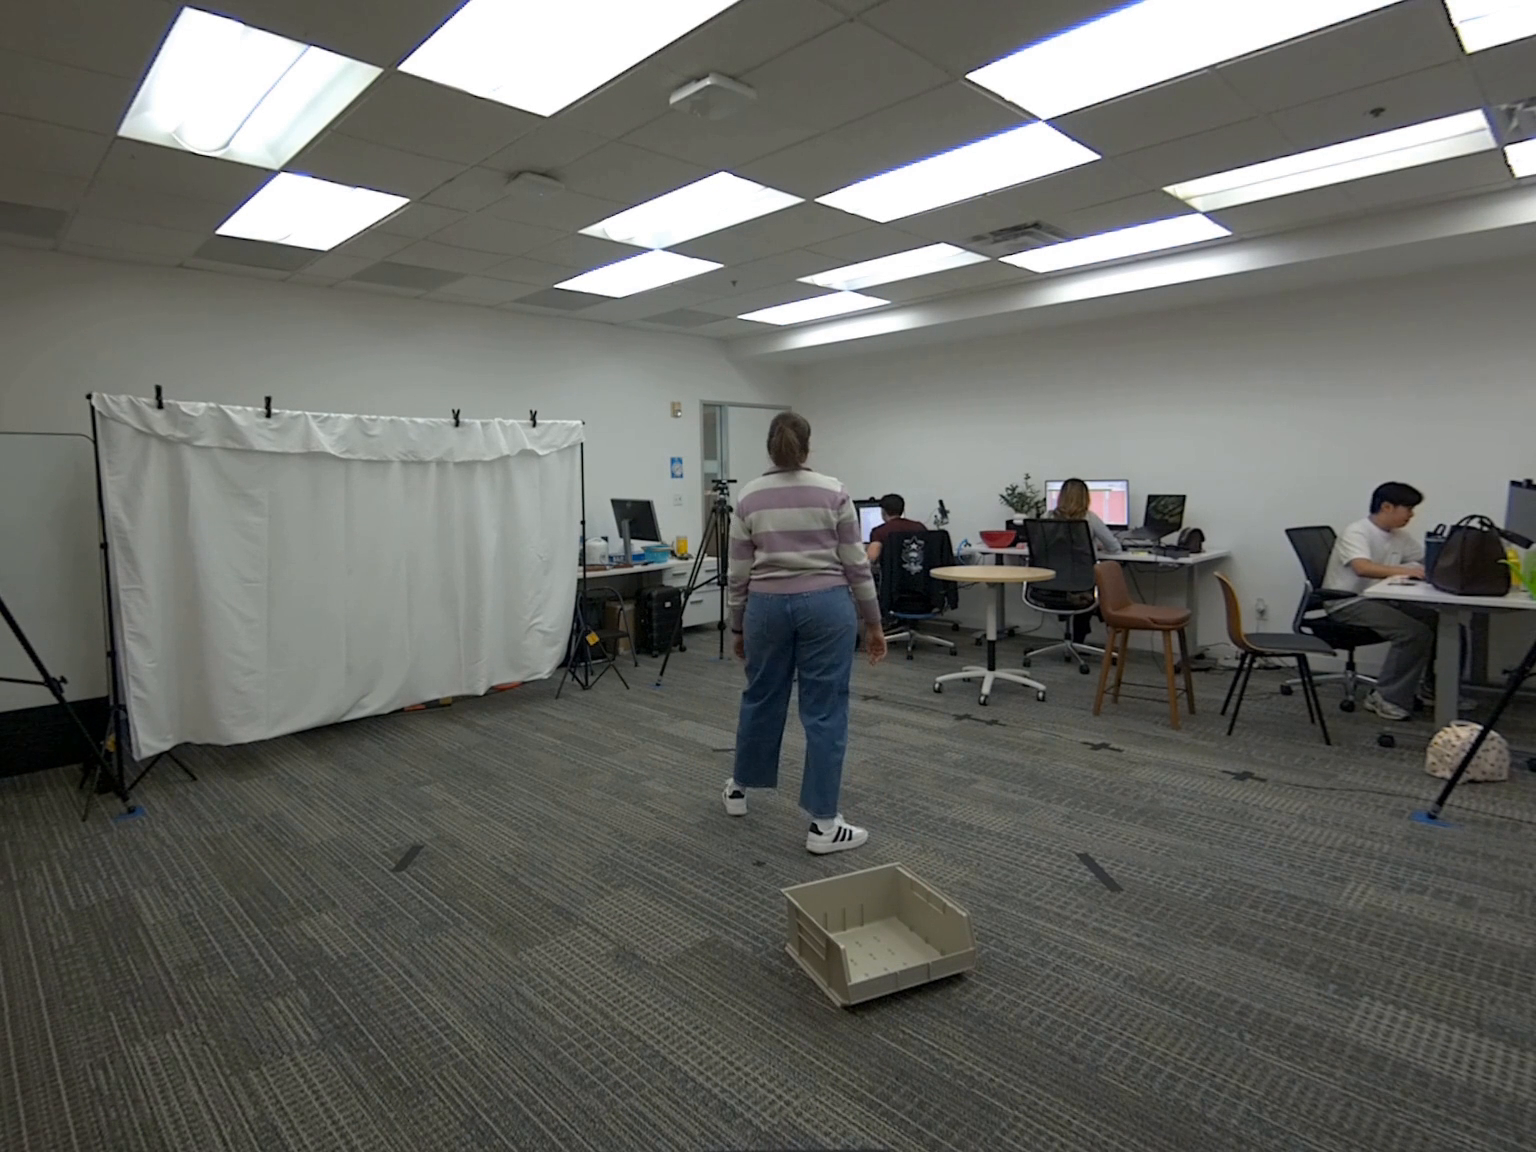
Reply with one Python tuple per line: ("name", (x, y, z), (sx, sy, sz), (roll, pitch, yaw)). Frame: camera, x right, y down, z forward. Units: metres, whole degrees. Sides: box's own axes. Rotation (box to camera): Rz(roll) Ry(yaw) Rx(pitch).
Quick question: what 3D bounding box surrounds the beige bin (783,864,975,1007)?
("beige bin", (0.312, 1.033, 2.450), (0.414, 0.188, 0.386), (-4, 5, -25))
